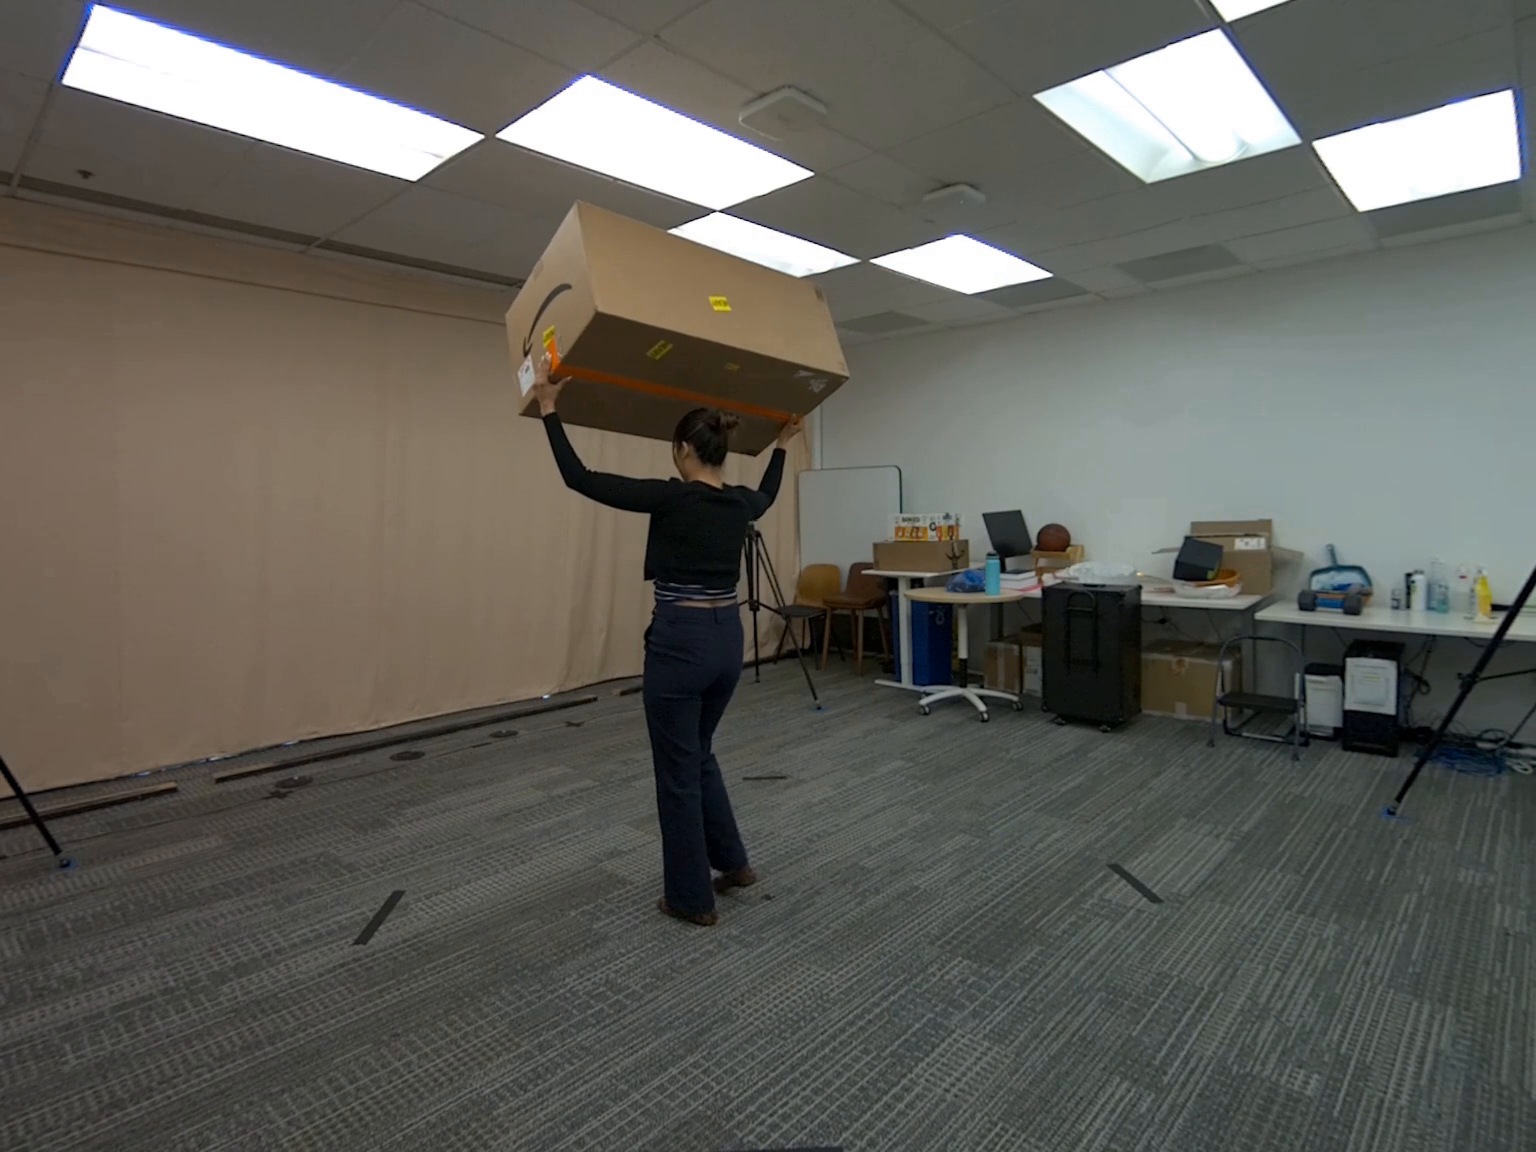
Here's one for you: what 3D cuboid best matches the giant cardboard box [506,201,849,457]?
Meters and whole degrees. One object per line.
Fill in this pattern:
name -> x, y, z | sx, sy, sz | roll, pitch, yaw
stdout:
giant cardboard box -> -0.304, -0.802, 2.979 | 0.993, 0.433, 0.586 | 4, -26, -38
